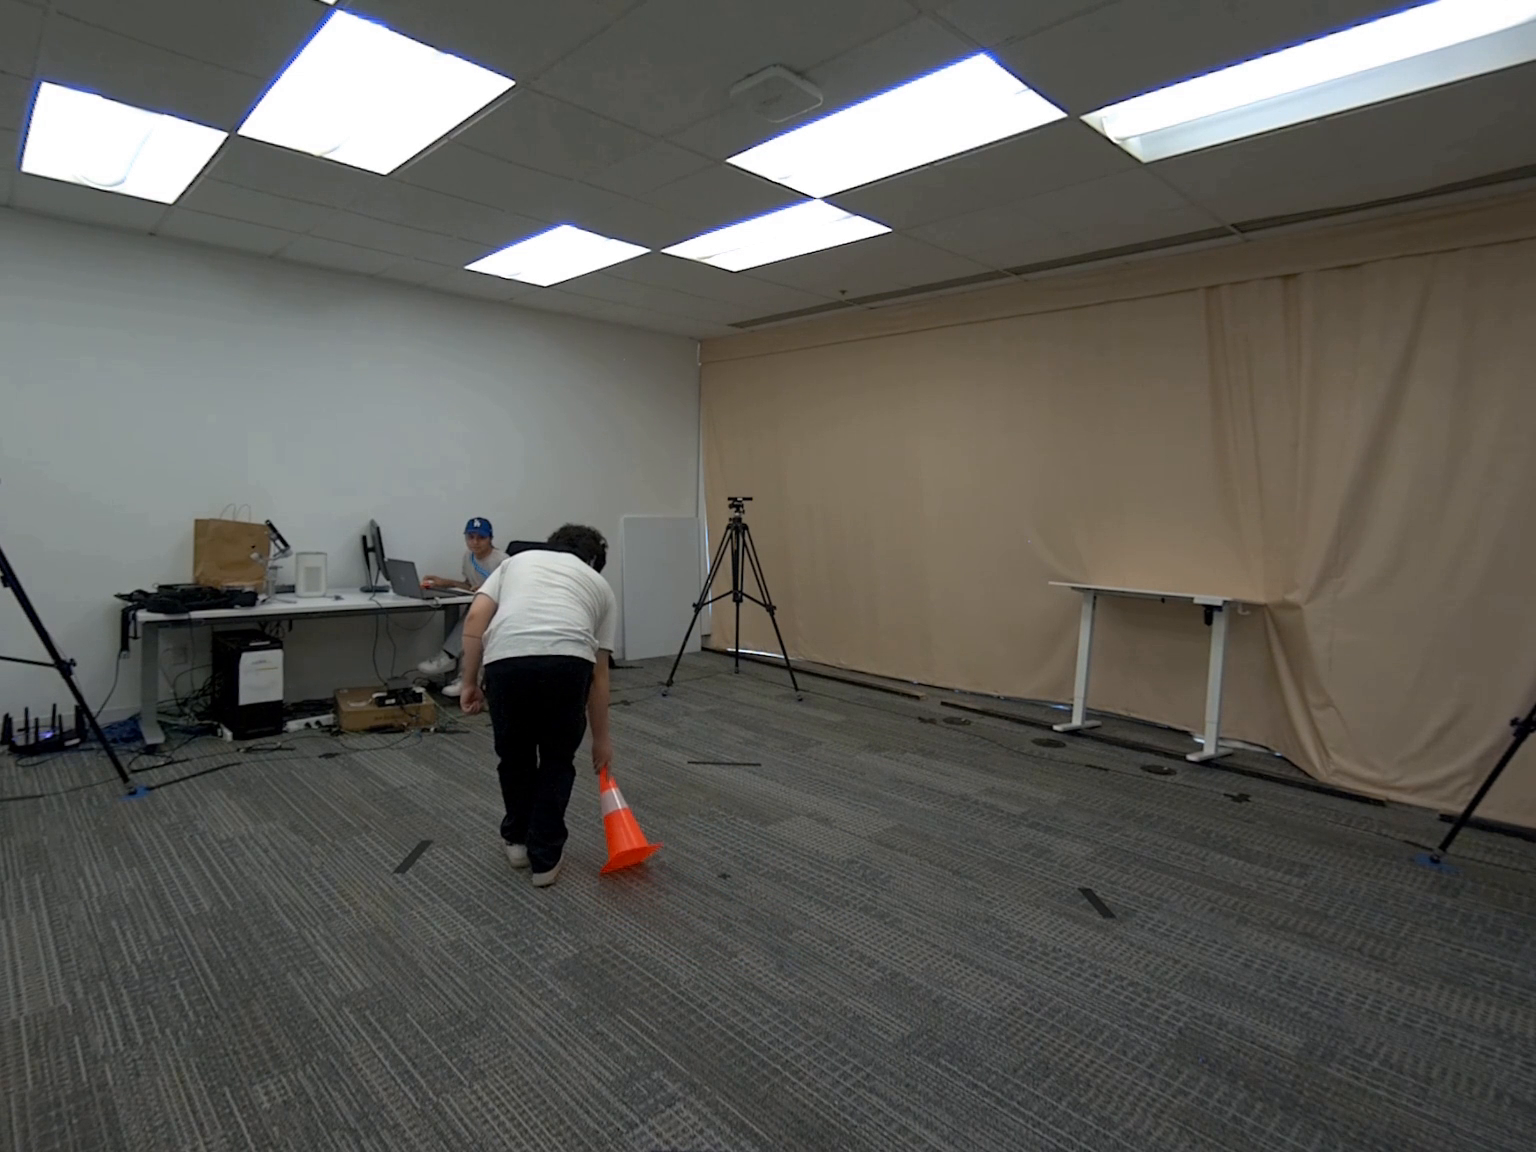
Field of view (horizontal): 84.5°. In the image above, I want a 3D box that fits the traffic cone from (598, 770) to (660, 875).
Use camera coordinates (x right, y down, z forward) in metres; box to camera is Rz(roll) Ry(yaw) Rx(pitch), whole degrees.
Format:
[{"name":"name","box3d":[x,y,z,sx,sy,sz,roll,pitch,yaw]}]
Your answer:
[{"name":"traffic cone","box3d":[-0.589,0.887,3.188,0.199,0.393,0.204,11,-43,-42]}]
